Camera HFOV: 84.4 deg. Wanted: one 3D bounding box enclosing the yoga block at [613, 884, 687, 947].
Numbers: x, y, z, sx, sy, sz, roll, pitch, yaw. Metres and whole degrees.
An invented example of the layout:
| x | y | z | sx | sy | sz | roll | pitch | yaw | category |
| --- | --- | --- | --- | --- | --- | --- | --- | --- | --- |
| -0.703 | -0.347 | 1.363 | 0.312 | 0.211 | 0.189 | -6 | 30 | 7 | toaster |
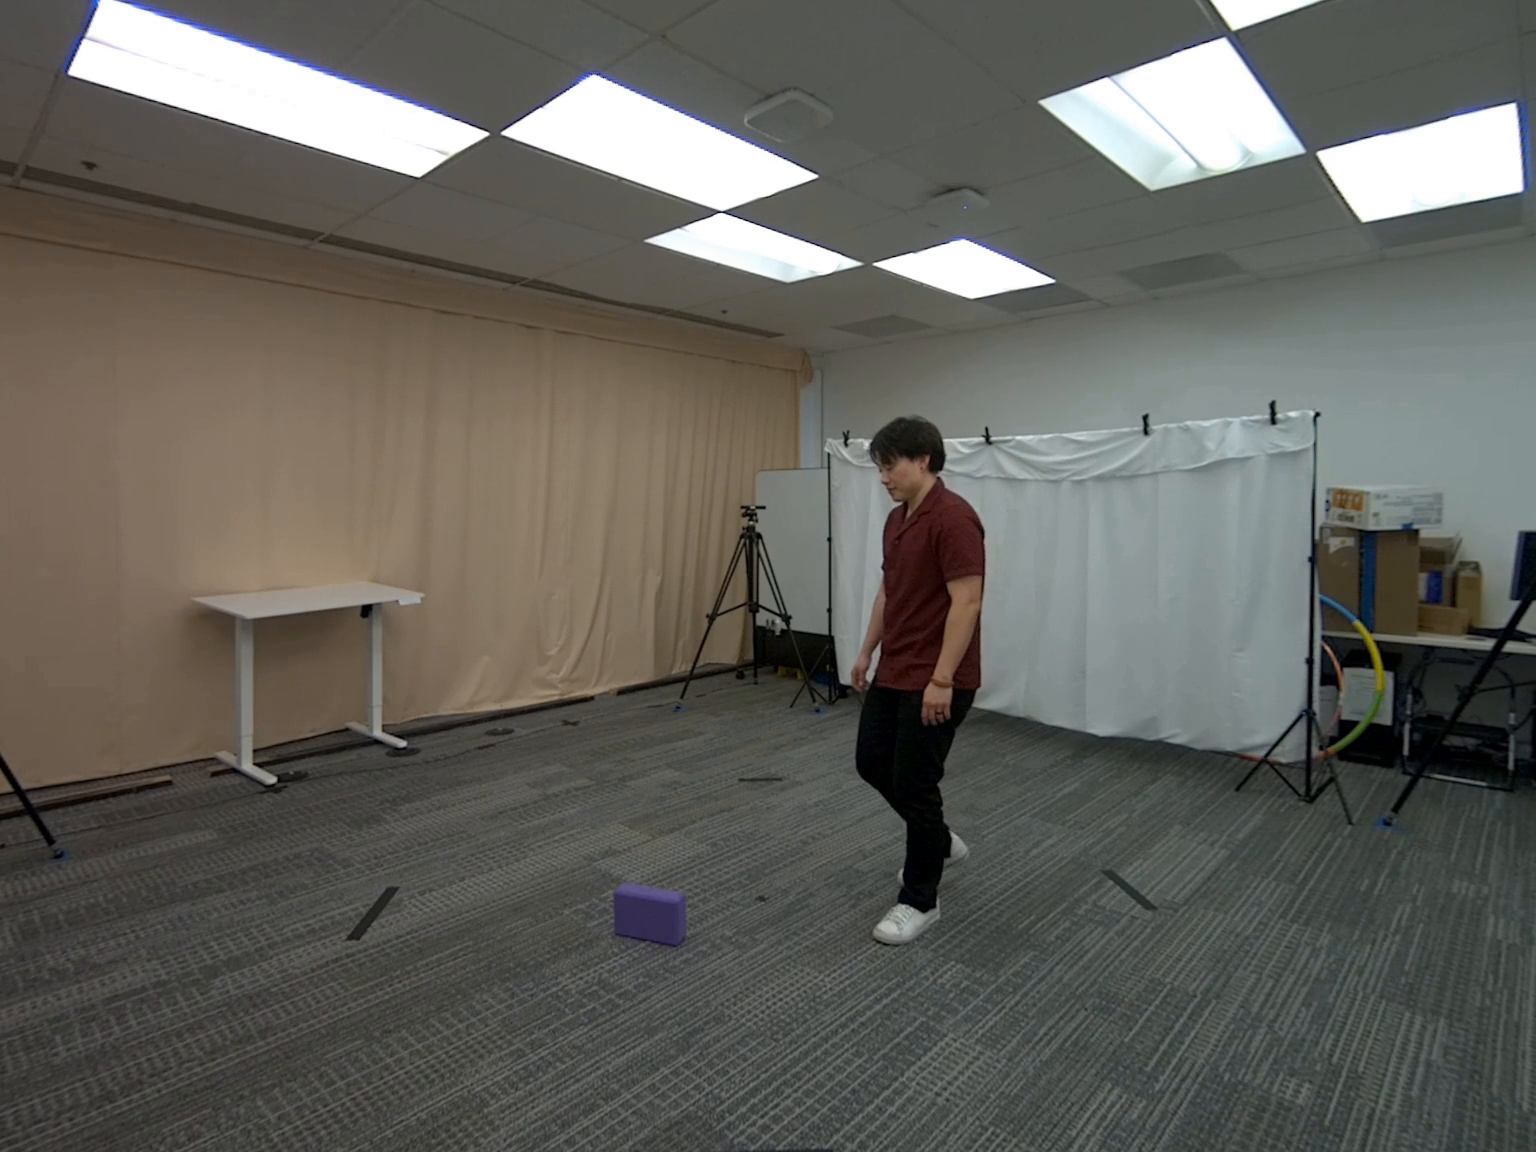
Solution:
| x | y | z | sx | sy | sz | roll | pitch | yaw | category |
| --- | --- | --- | --- | --- | --- | --- | --- | --- | --- |
| -0.381 | 1.094 | 2.722 | 0.234 | 0.148 | 0.075 | 0 | 5 | 19 | yoga block |
